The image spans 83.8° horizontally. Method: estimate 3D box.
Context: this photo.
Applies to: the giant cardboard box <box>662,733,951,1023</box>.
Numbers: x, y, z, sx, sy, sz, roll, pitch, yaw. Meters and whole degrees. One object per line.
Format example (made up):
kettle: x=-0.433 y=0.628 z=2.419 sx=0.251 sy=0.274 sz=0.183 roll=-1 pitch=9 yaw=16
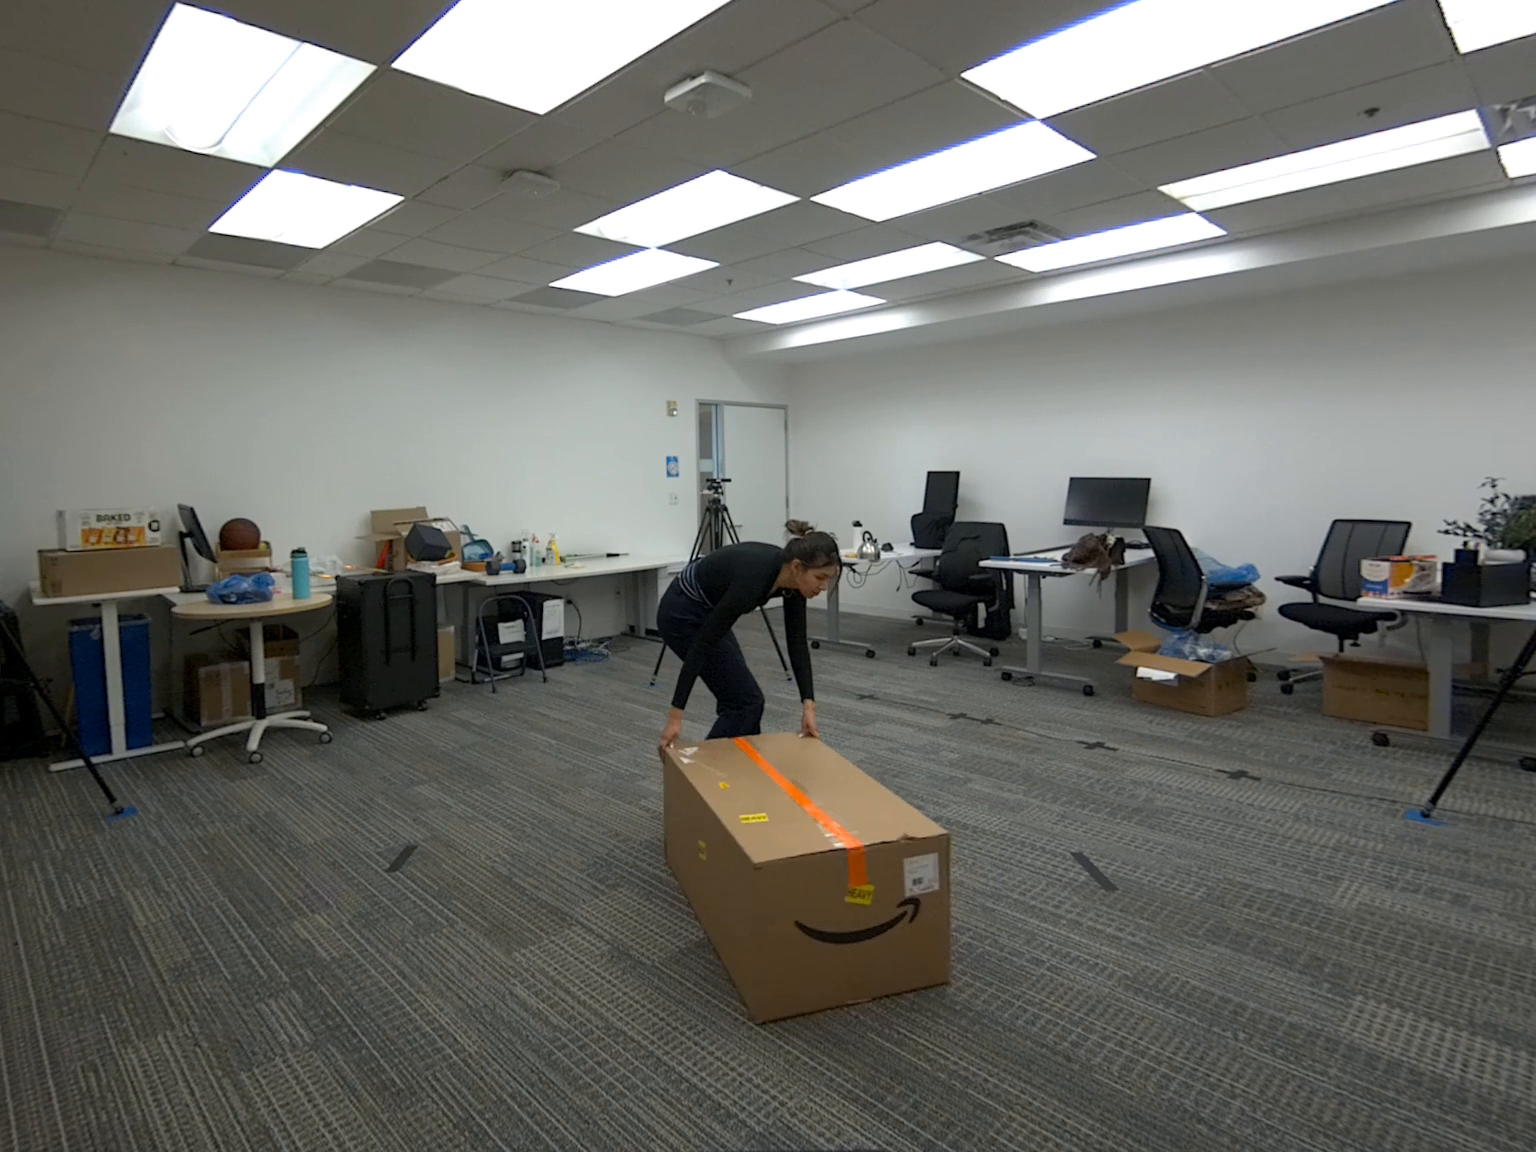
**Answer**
giant cardboard box: x=0.061 y=0.868 z=2.745 sx=0.568 sy=0.424 sz=1.048 roll=-3 pitch=6 yaw=-19
